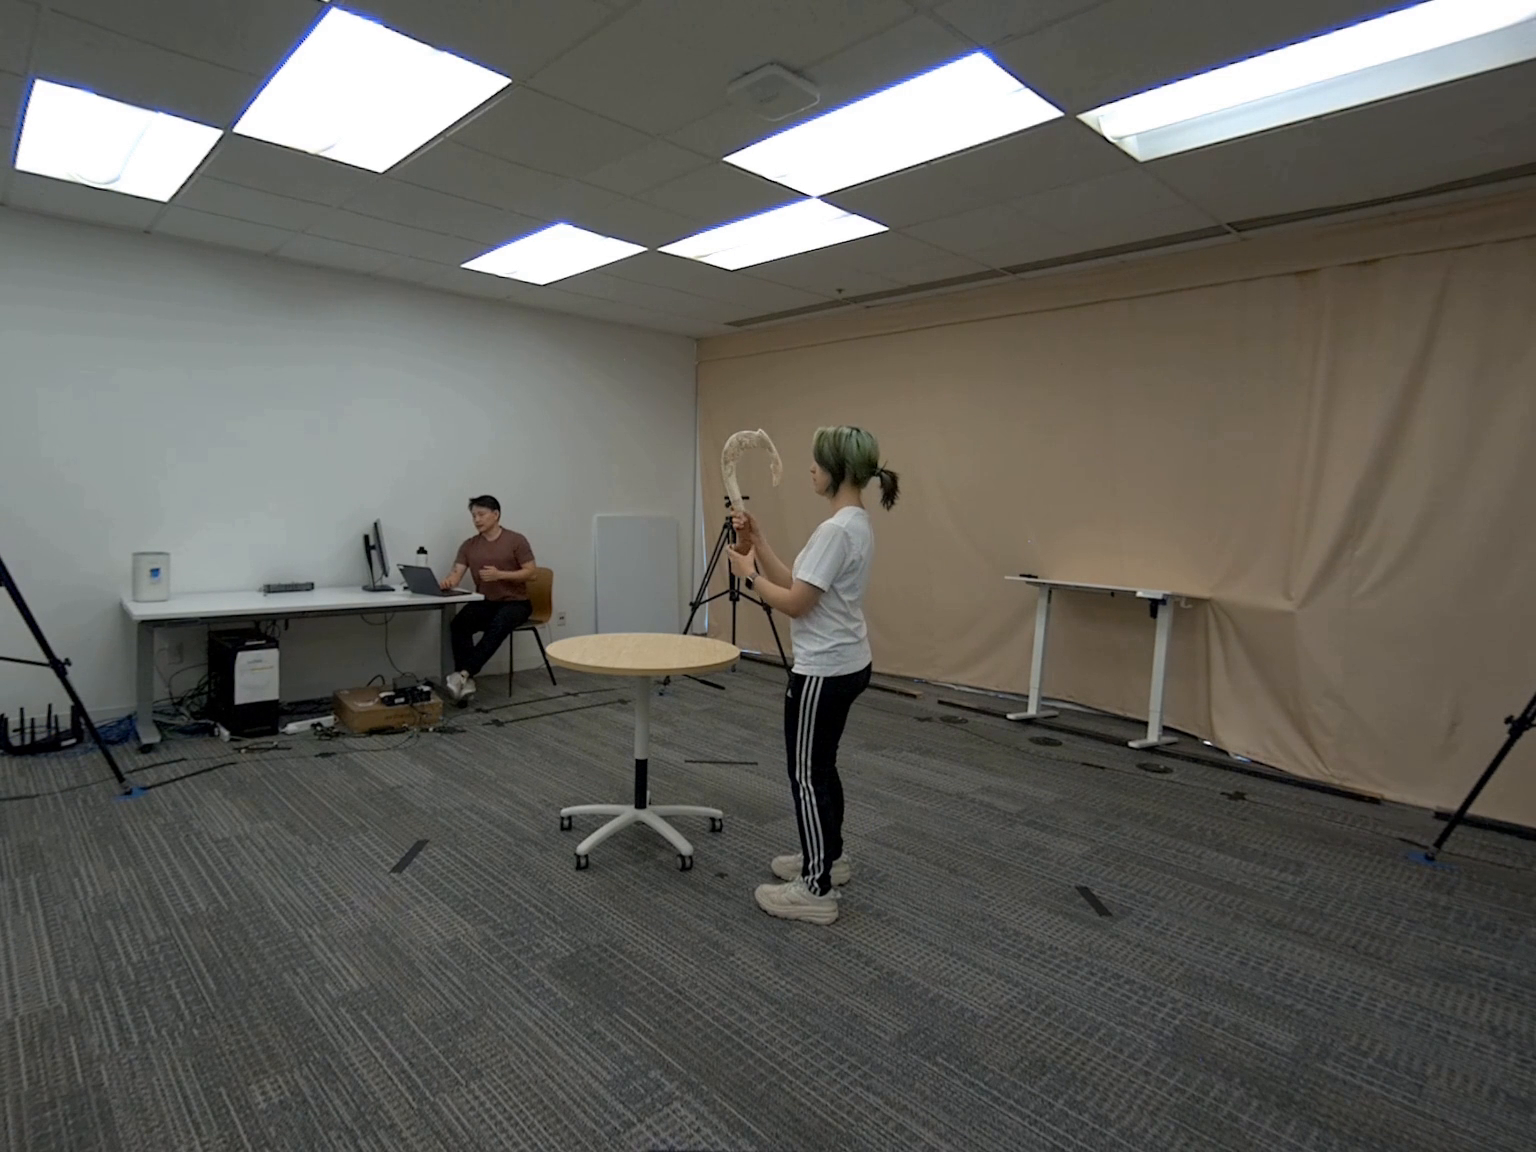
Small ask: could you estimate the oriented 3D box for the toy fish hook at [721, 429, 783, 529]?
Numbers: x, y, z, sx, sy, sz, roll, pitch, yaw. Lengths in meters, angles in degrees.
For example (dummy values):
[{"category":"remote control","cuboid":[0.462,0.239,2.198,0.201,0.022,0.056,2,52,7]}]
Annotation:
[{"category":"toy fish hook","cuboid":[-0.050,-0.243,2.871,0.229,0.507,0.047,-4,-1,29]}]
